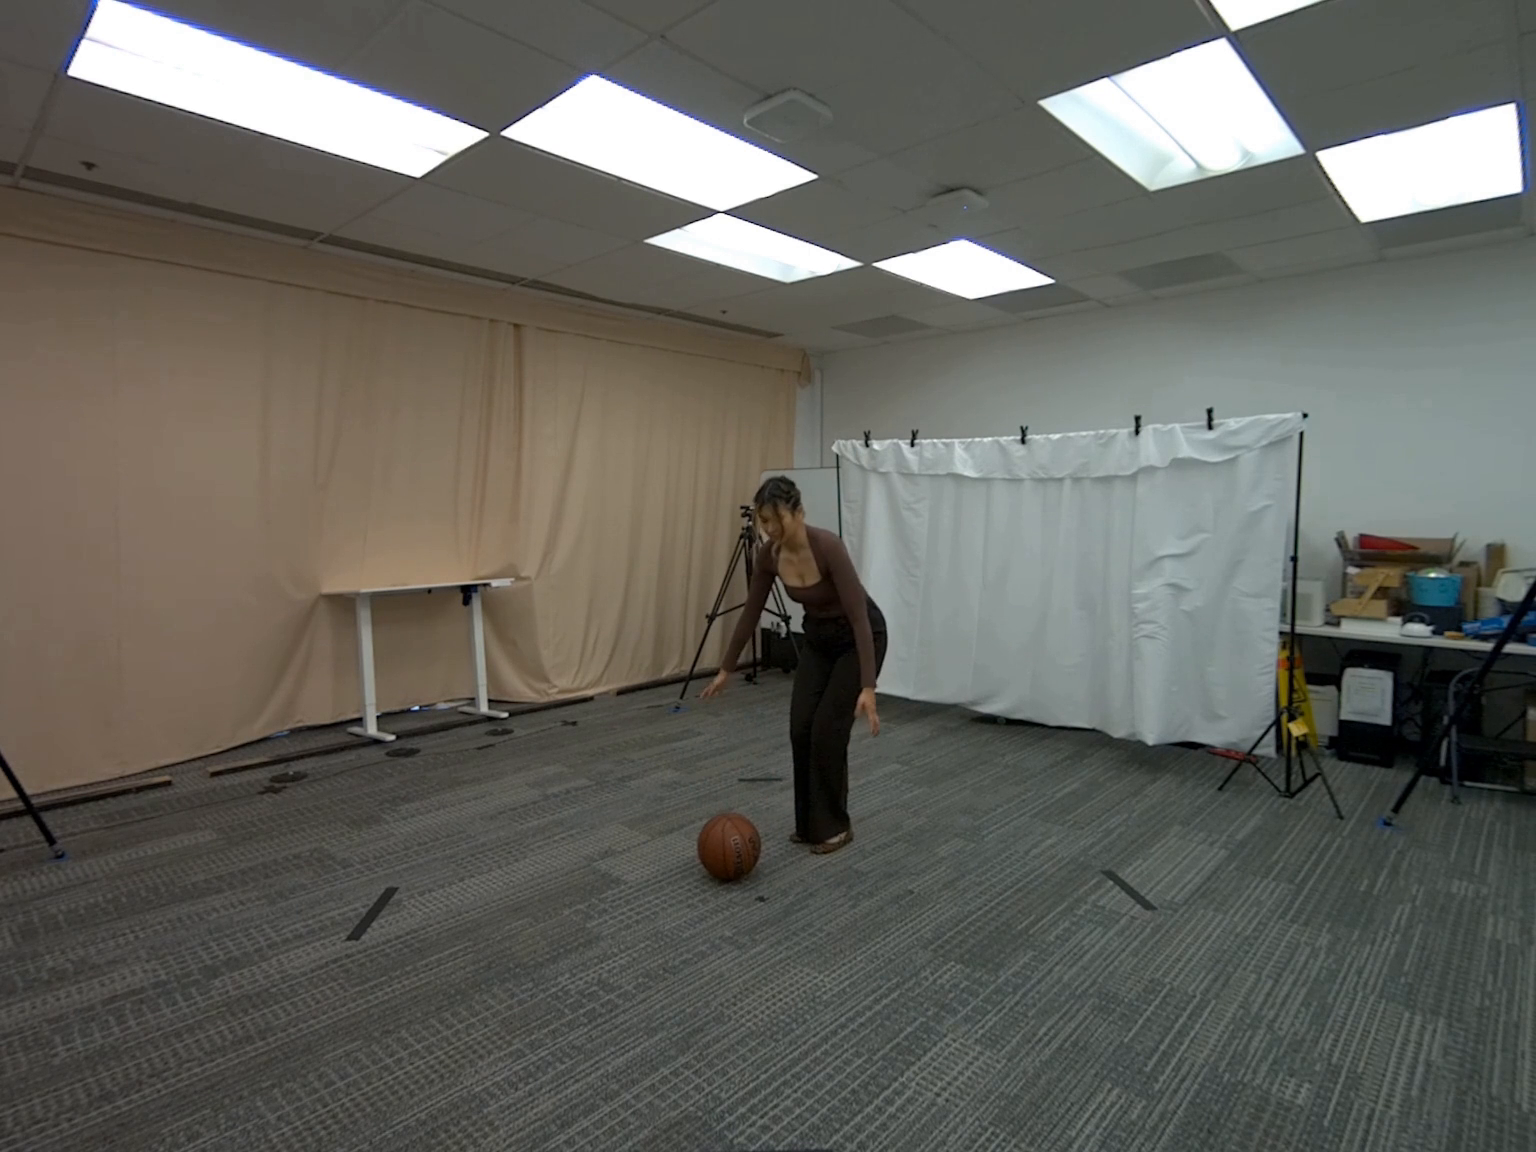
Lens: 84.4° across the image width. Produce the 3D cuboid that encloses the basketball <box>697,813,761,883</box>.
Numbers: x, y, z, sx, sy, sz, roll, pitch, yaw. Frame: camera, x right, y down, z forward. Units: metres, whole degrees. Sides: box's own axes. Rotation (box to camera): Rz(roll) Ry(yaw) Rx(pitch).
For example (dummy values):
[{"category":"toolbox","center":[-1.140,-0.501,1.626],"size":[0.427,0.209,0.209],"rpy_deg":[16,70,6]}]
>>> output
[{"category":"basketball","center":[-0.144,1.007,3.152],"size":[0.236,0.235,0.237],"rpy_deg":[0,4,-2]}]
